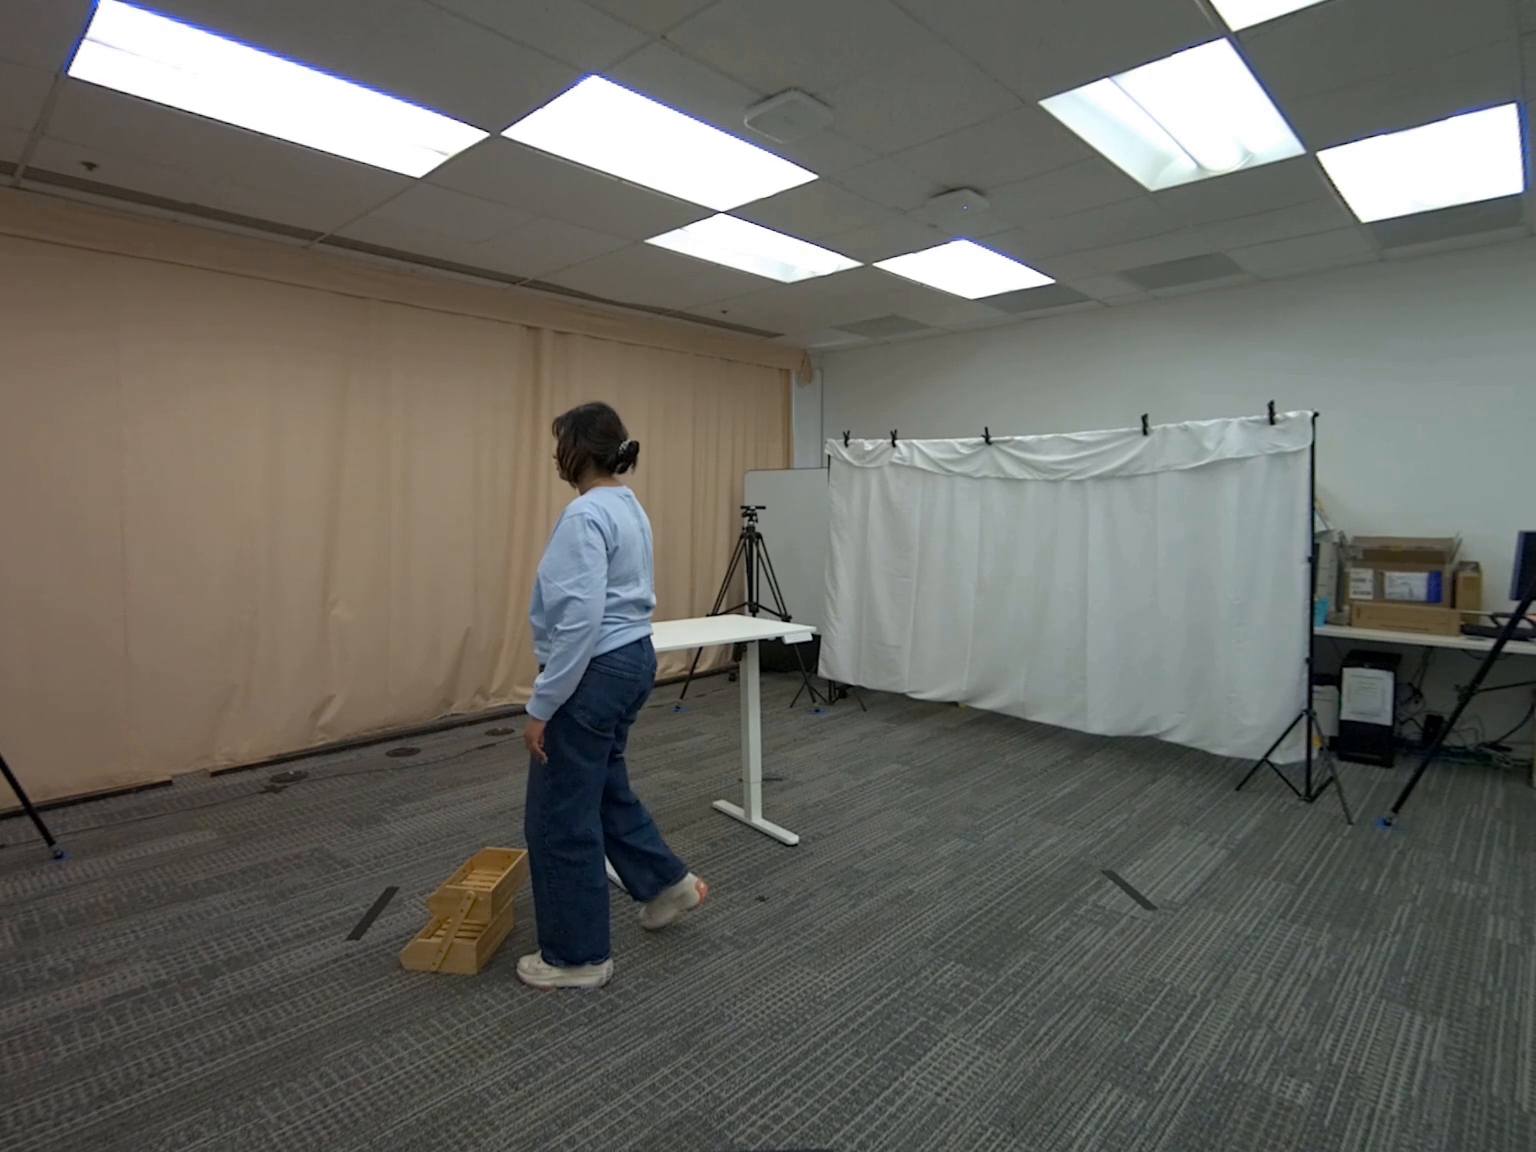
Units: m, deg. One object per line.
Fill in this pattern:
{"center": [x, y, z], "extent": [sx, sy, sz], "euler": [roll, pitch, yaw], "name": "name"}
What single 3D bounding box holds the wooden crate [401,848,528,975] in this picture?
{"center": [-0.972, 1.050, 2.659], "extent": [0.304, 0.273, 0.323], "euler": [1, 4, 6], "name": "wooden crate"}
